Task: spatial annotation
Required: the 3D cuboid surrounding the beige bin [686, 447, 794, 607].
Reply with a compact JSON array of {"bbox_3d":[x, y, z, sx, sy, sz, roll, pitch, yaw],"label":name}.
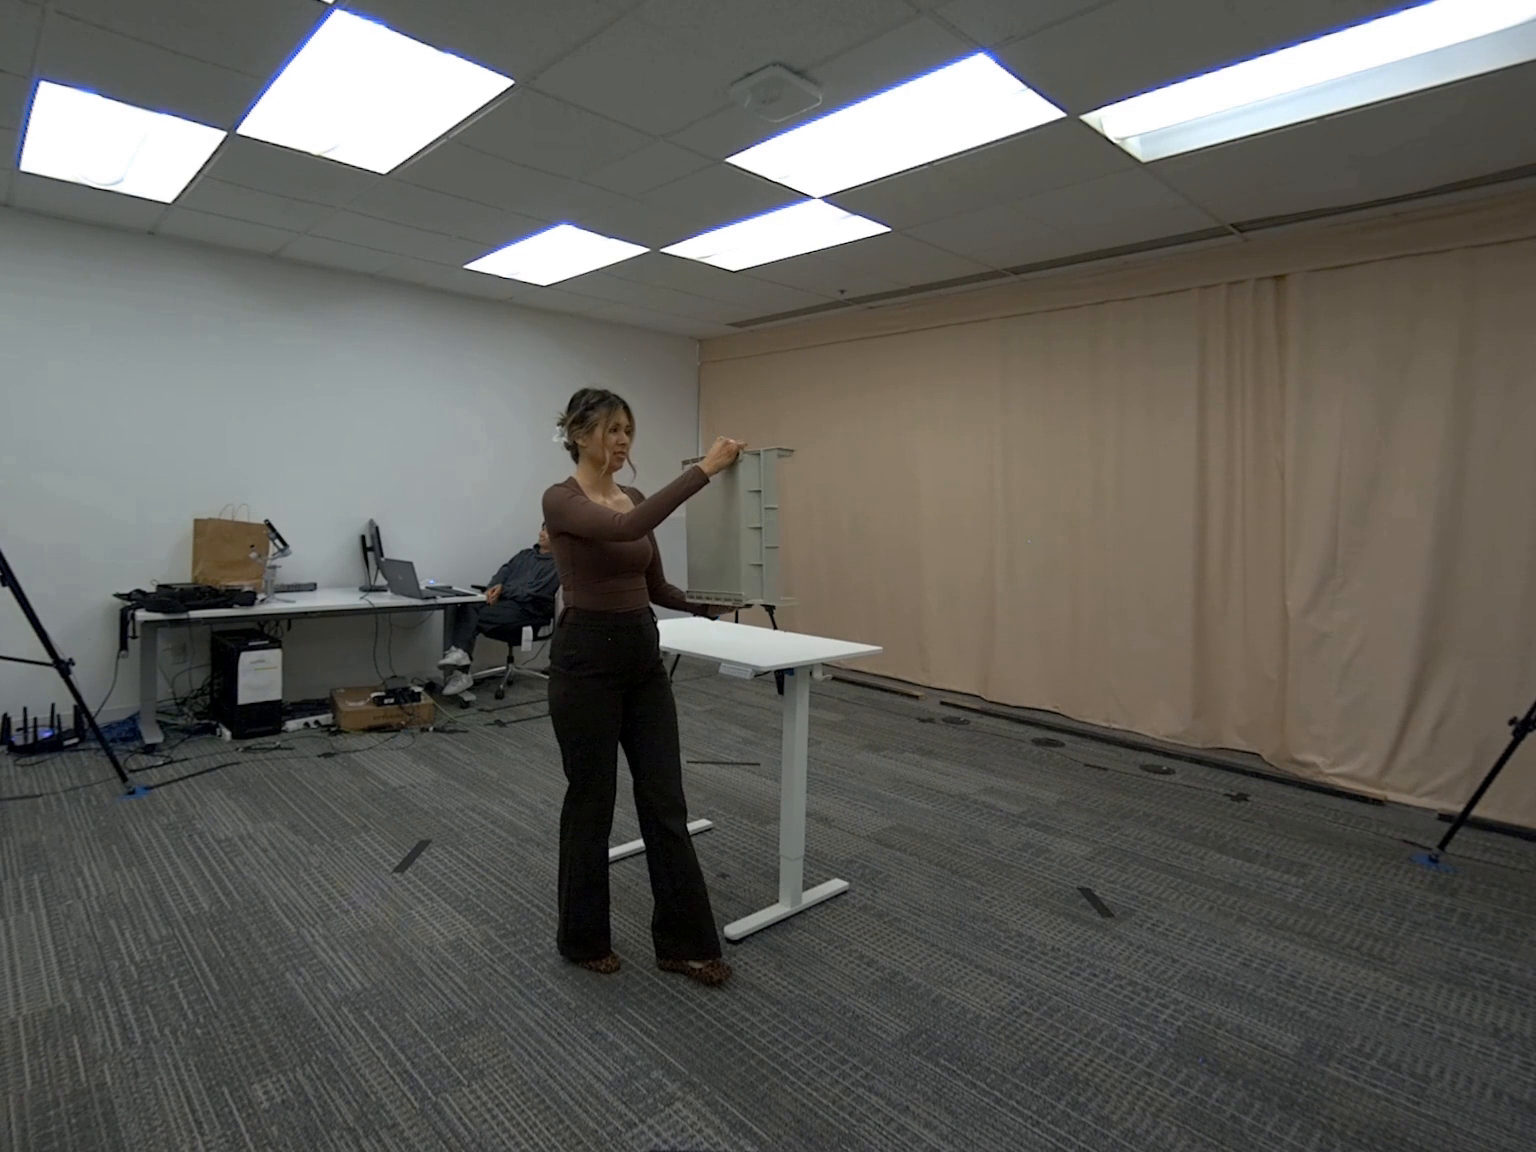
[{"bbox_3d":[-0.073,-0.132,2.348,0.185,0.422,0.385,-2,1,-35],"label":"beige bin"}]
